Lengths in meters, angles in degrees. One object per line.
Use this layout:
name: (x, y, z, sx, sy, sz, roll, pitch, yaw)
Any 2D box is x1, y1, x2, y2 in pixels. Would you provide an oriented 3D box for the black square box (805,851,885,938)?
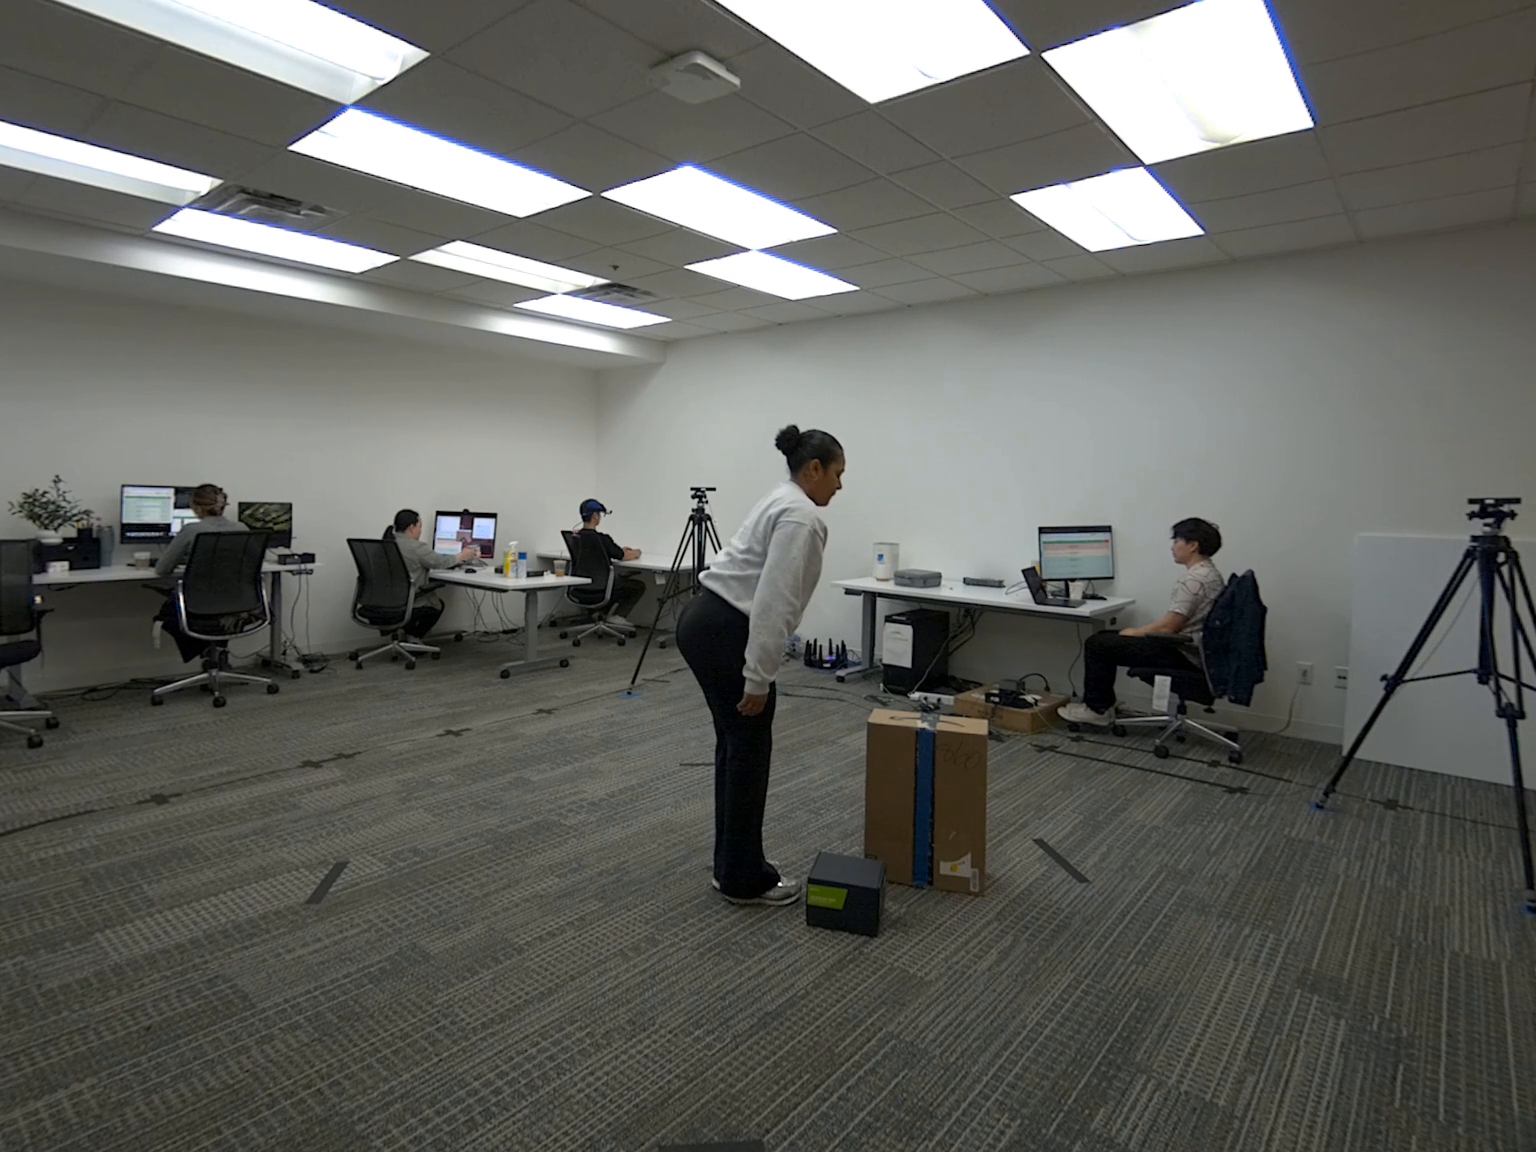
black square box: (0.250, 1.028, 2.779, 0.232, 0.155, 0.214, 4, 5, 15)
